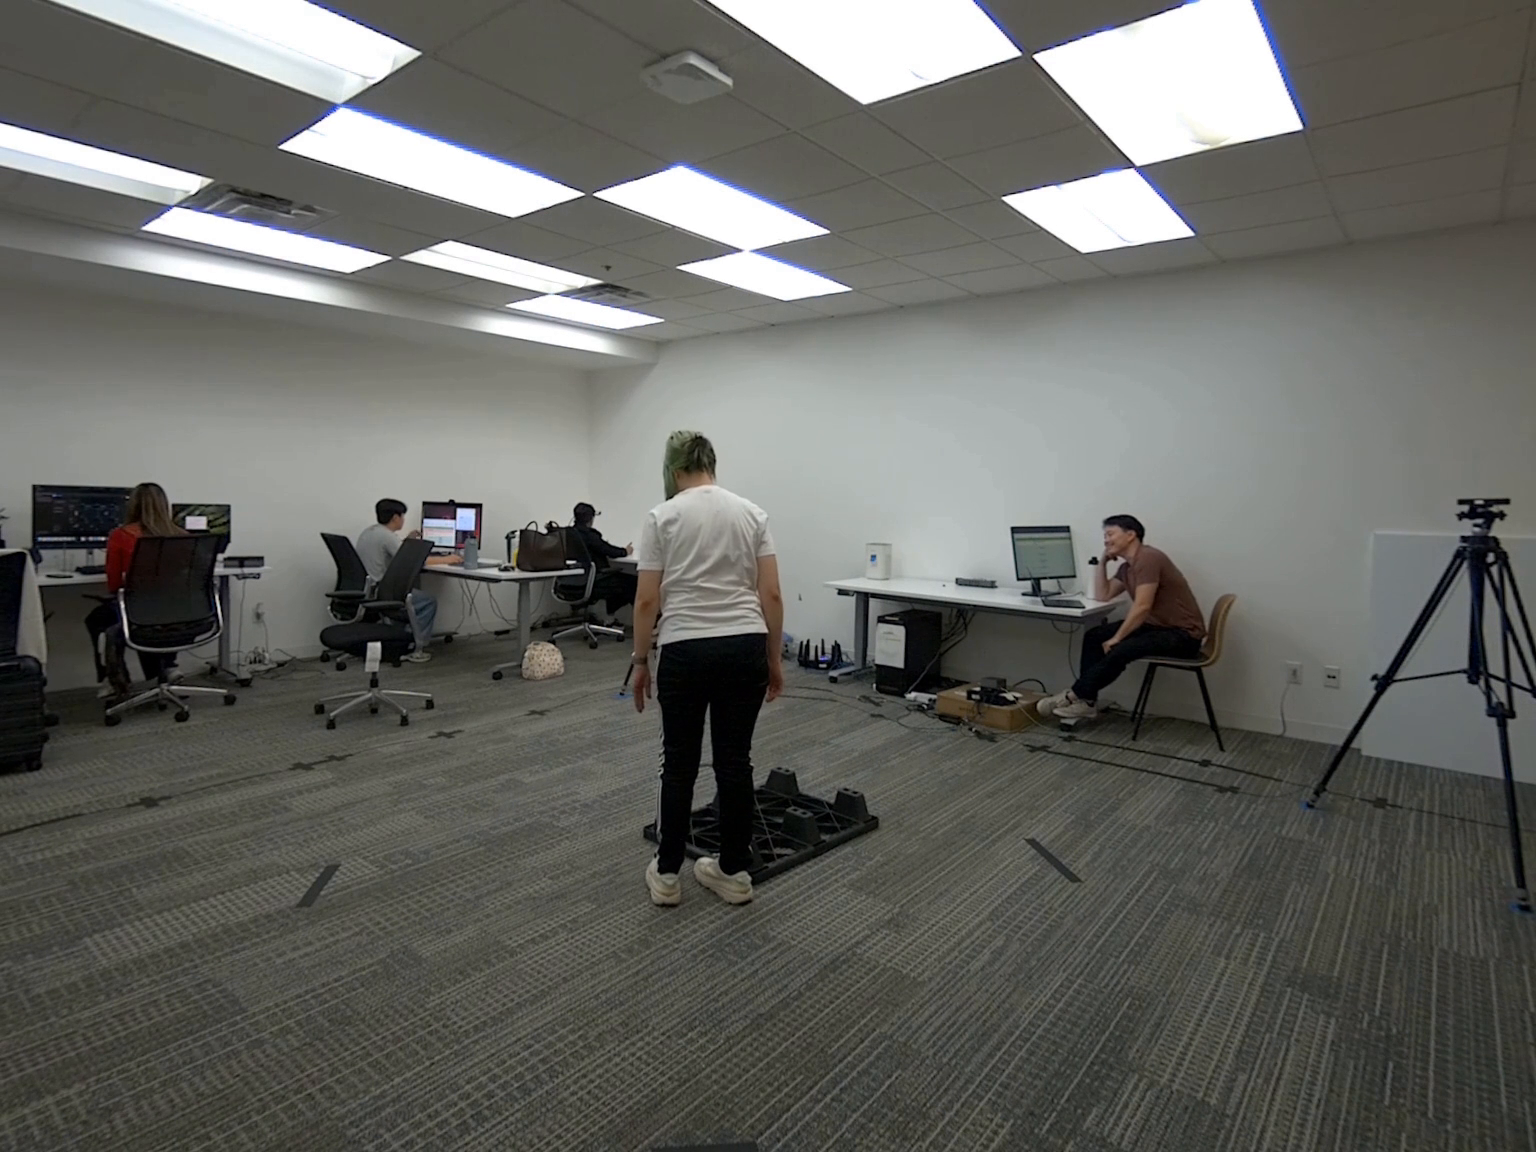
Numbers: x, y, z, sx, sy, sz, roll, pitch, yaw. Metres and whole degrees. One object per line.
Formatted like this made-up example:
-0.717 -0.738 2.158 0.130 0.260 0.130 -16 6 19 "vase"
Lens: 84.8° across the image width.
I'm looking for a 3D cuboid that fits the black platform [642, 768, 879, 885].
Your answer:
-0.026 0.974 3.453 0.626 0.143 0.782 5 7 42 "black platform"
